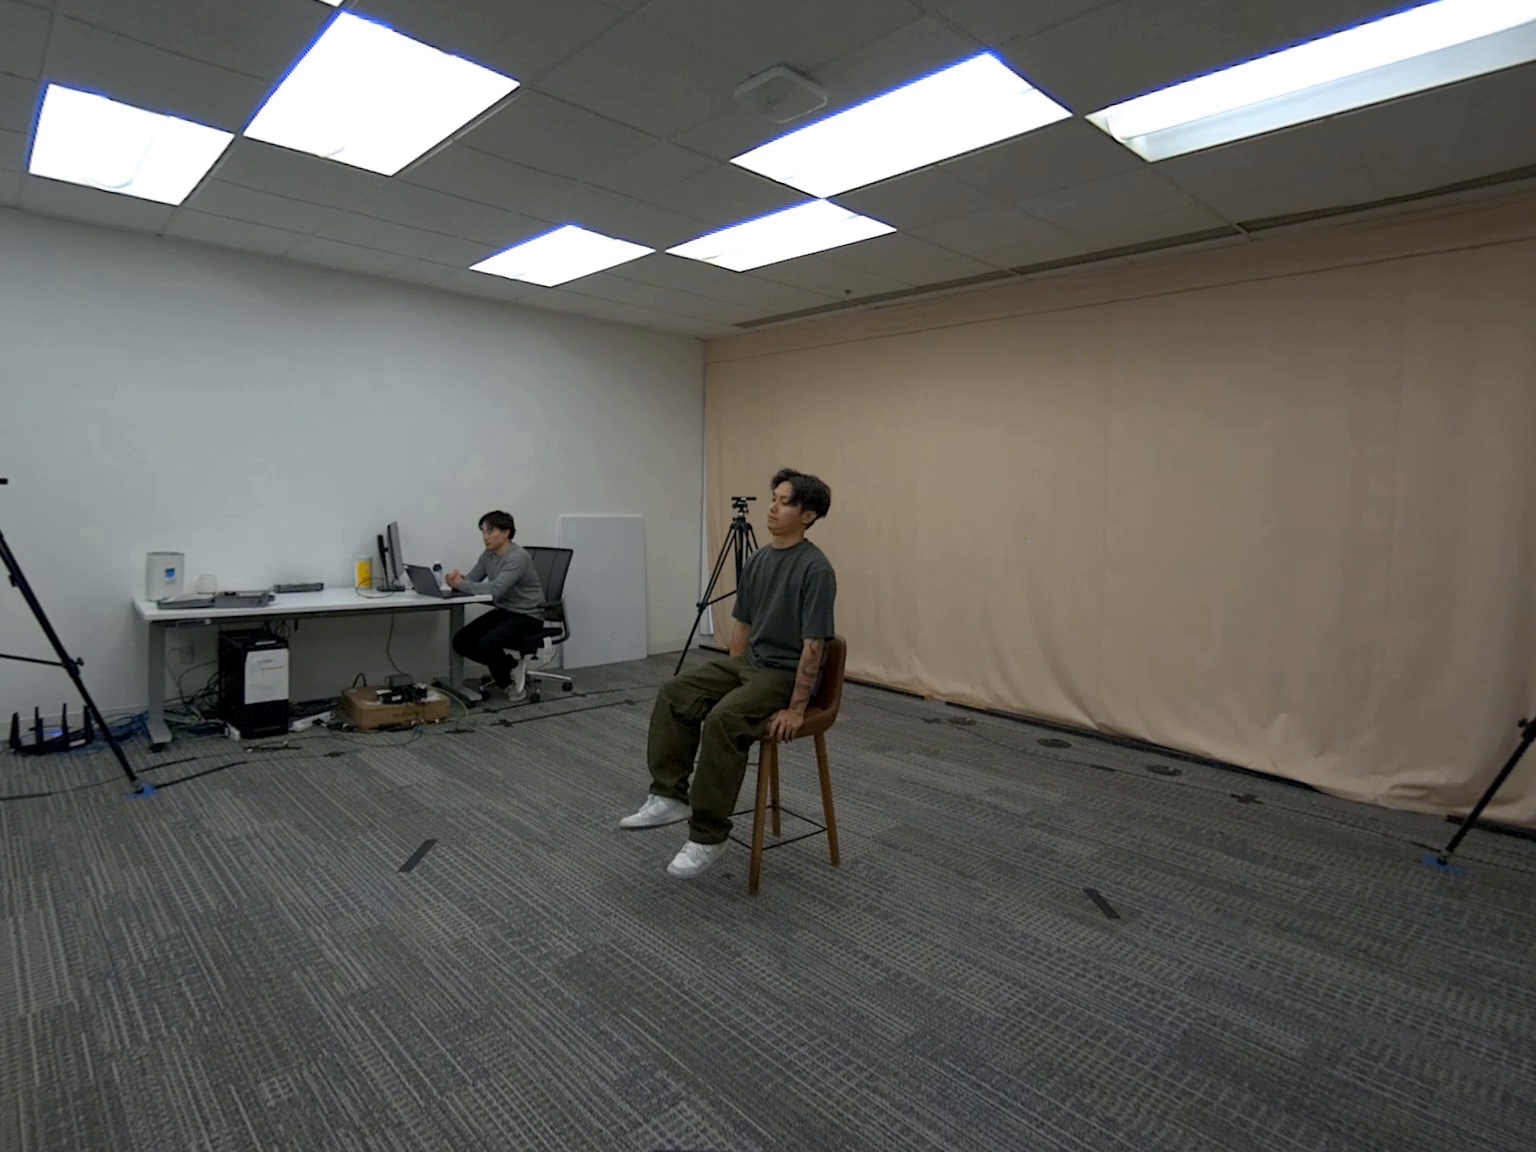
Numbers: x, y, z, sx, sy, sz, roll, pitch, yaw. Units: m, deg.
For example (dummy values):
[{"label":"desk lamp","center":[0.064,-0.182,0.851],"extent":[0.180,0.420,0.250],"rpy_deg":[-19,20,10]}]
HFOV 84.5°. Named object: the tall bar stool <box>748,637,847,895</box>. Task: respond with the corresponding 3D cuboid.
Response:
[{"label":"tall bar stool","center":[0.002,0.664,3.222],"extent":[0.456,0.889,0.468],"rpy_deg":[2,2,-39]}]
